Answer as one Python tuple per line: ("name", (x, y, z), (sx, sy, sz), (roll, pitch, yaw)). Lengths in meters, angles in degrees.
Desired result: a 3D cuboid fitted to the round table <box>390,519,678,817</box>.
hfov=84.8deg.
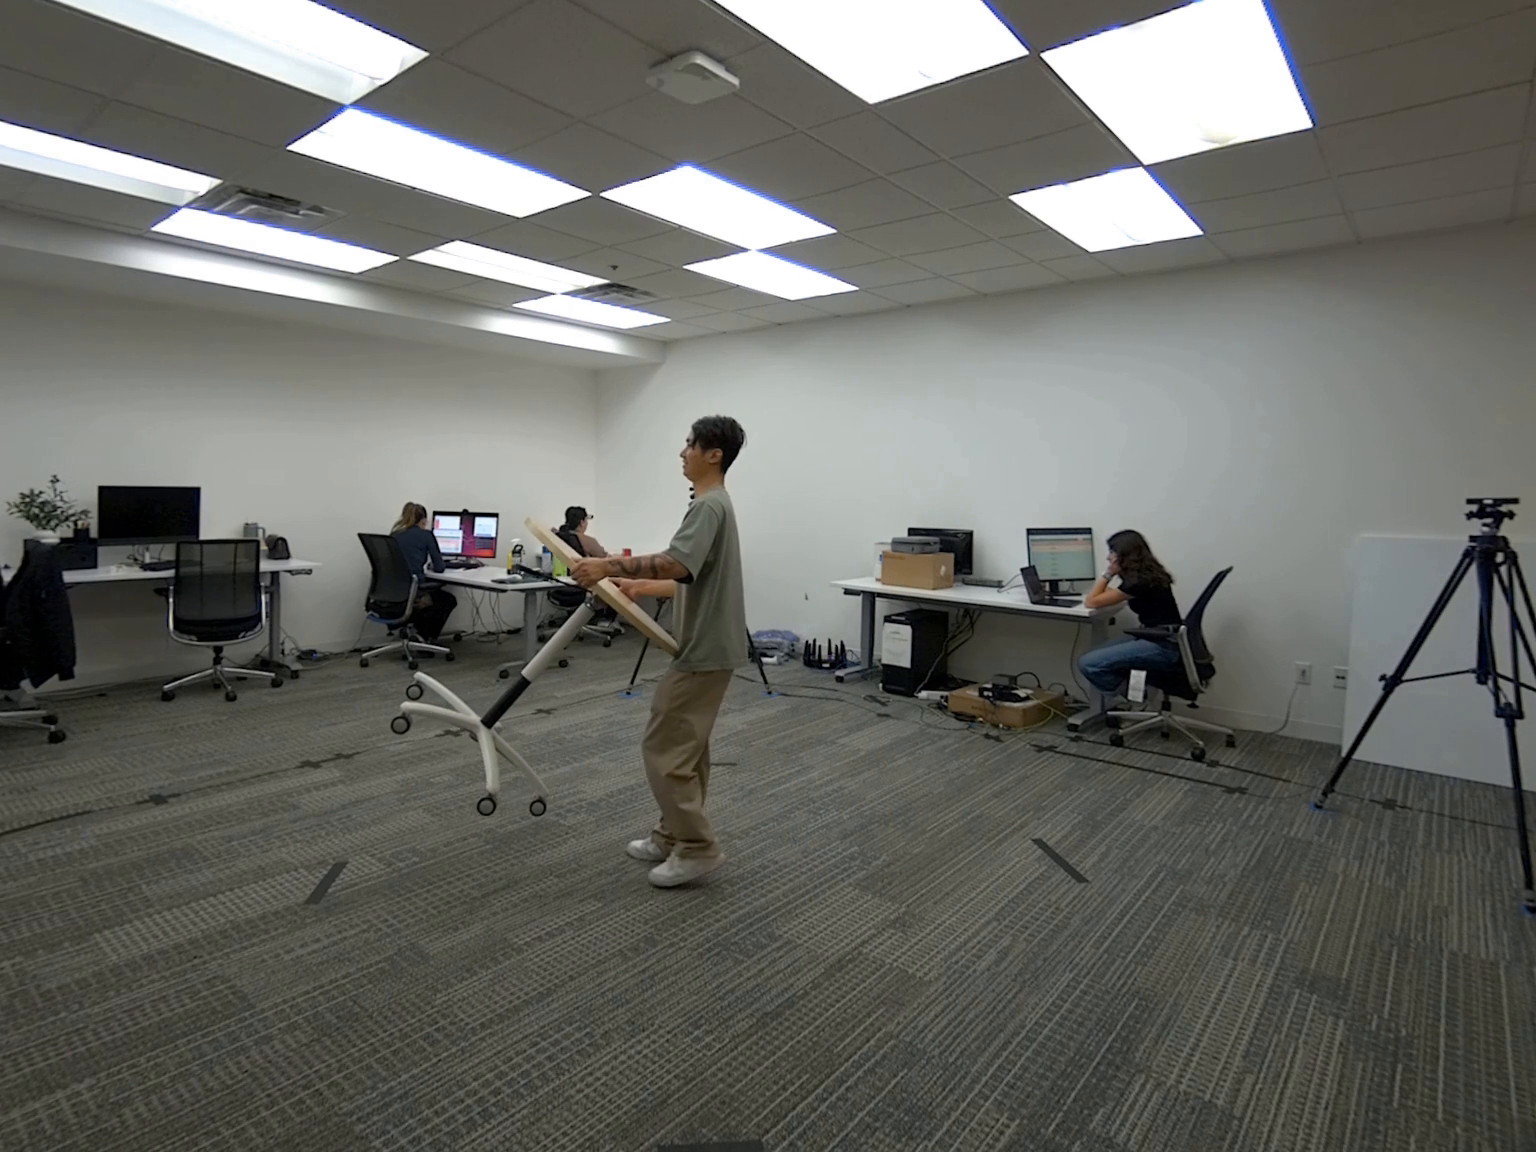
("round table", (-0.853, 0.343, 3.076), (0.789, 0.786, 0.782), (41, -5, 2))
